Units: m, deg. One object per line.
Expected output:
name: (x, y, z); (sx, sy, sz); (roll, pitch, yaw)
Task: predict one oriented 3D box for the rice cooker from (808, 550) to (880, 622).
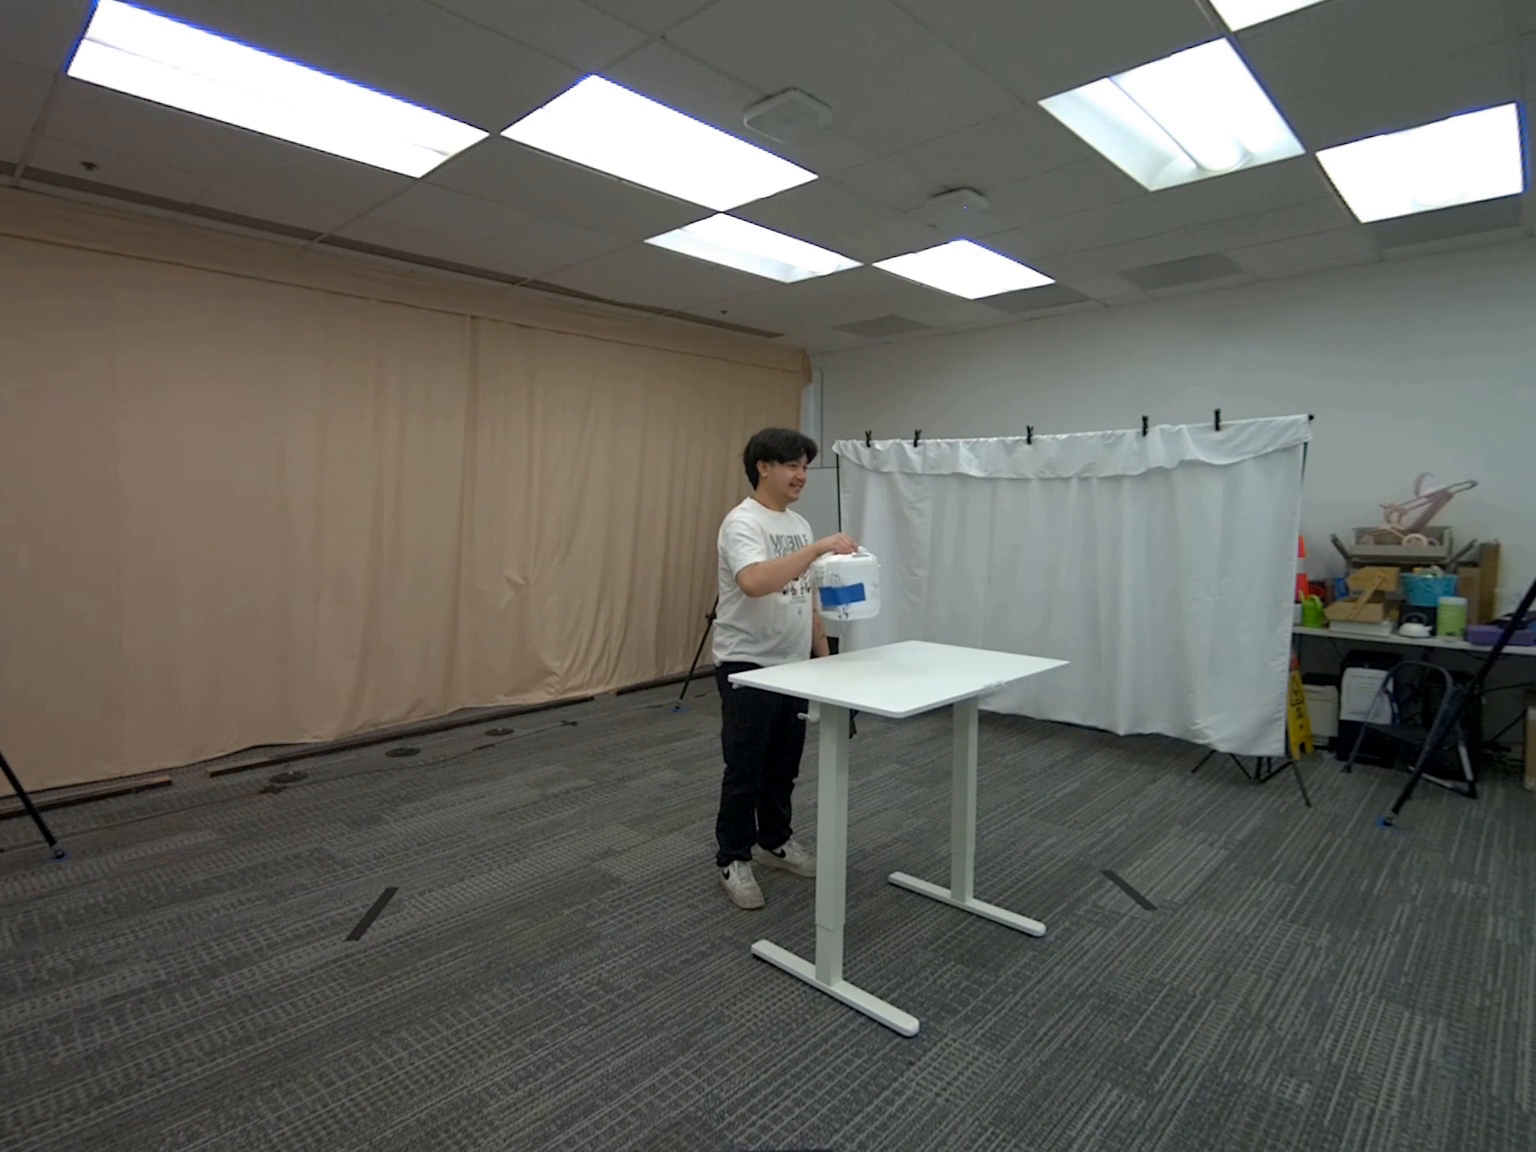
rice cooker: (0.260, 0.022, 2.735); (0.216, 0.232, 0.222); (-4, 3, -24)
